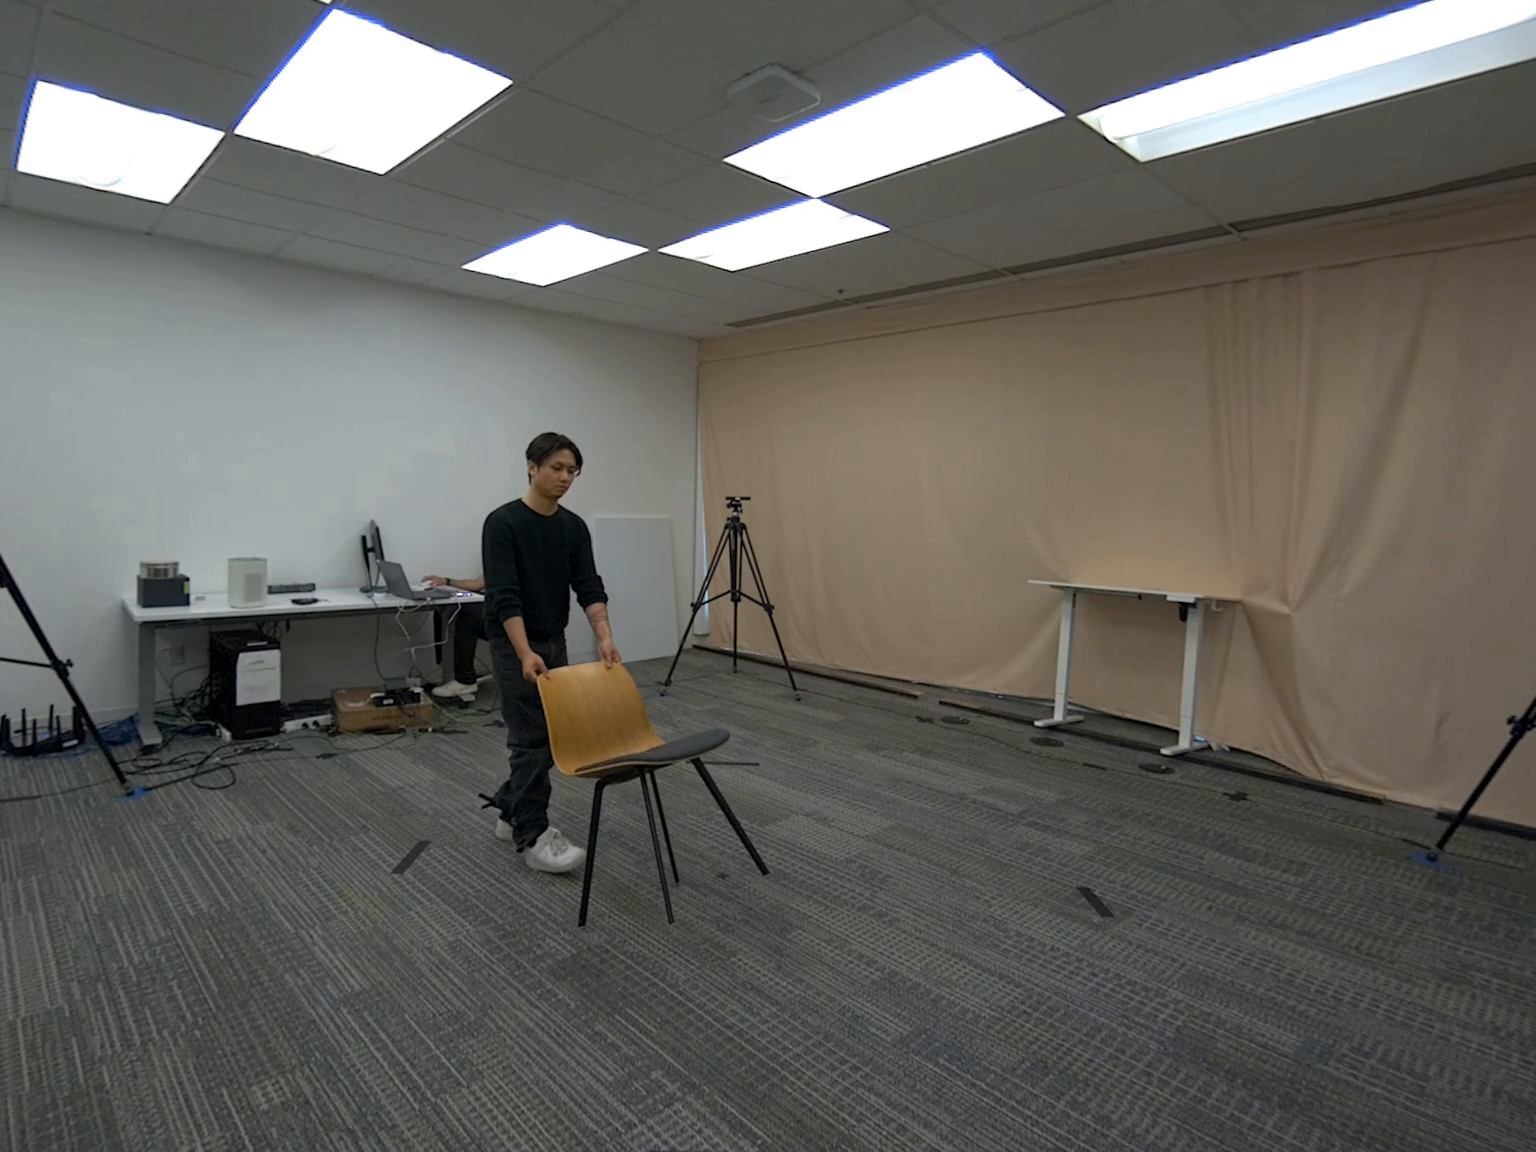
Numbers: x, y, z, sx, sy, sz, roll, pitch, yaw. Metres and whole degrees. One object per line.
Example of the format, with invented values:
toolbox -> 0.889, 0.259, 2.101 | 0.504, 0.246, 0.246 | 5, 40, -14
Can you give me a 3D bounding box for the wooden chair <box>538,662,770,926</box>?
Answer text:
wooden chair -> -0.407, 0.647, 2.800 | 0.528, 0.889, 0.467 | -29, -17, 38
